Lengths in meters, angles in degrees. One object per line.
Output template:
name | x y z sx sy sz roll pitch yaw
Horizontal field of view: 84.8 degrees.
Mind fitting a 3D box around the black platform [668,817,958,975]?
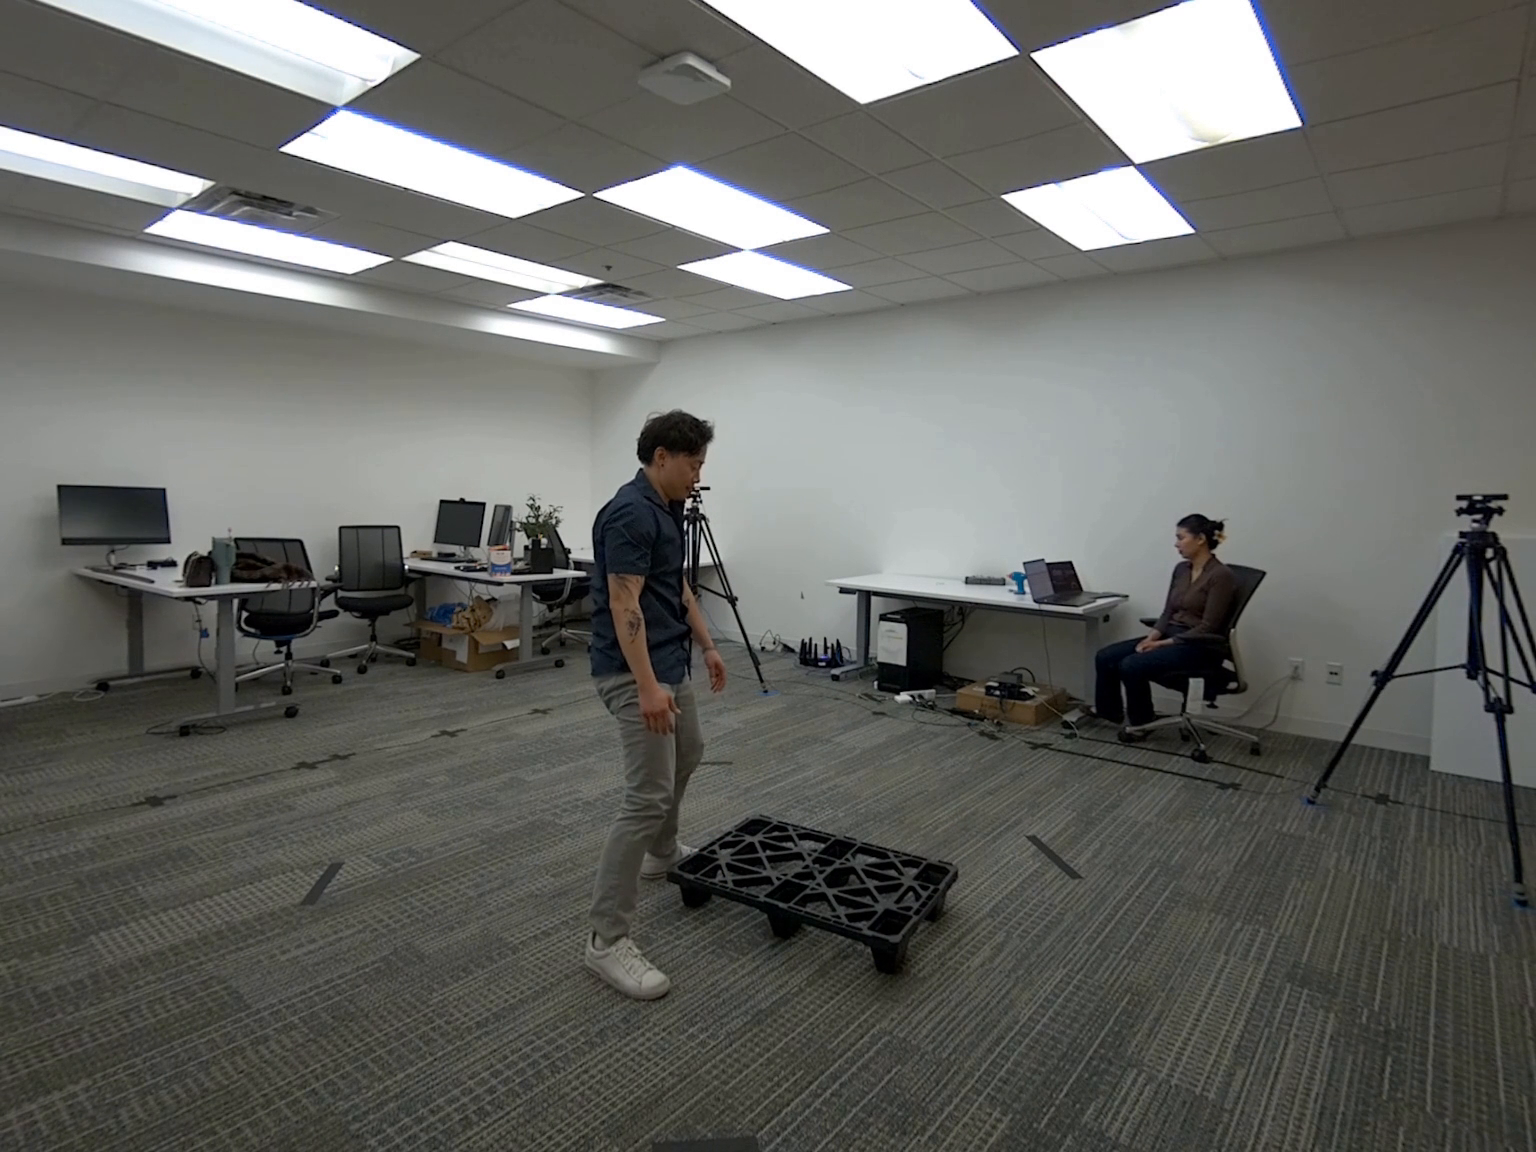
black platform | 0.148 1.034 2.824 0.830 0.143 0.590 4 7 30
